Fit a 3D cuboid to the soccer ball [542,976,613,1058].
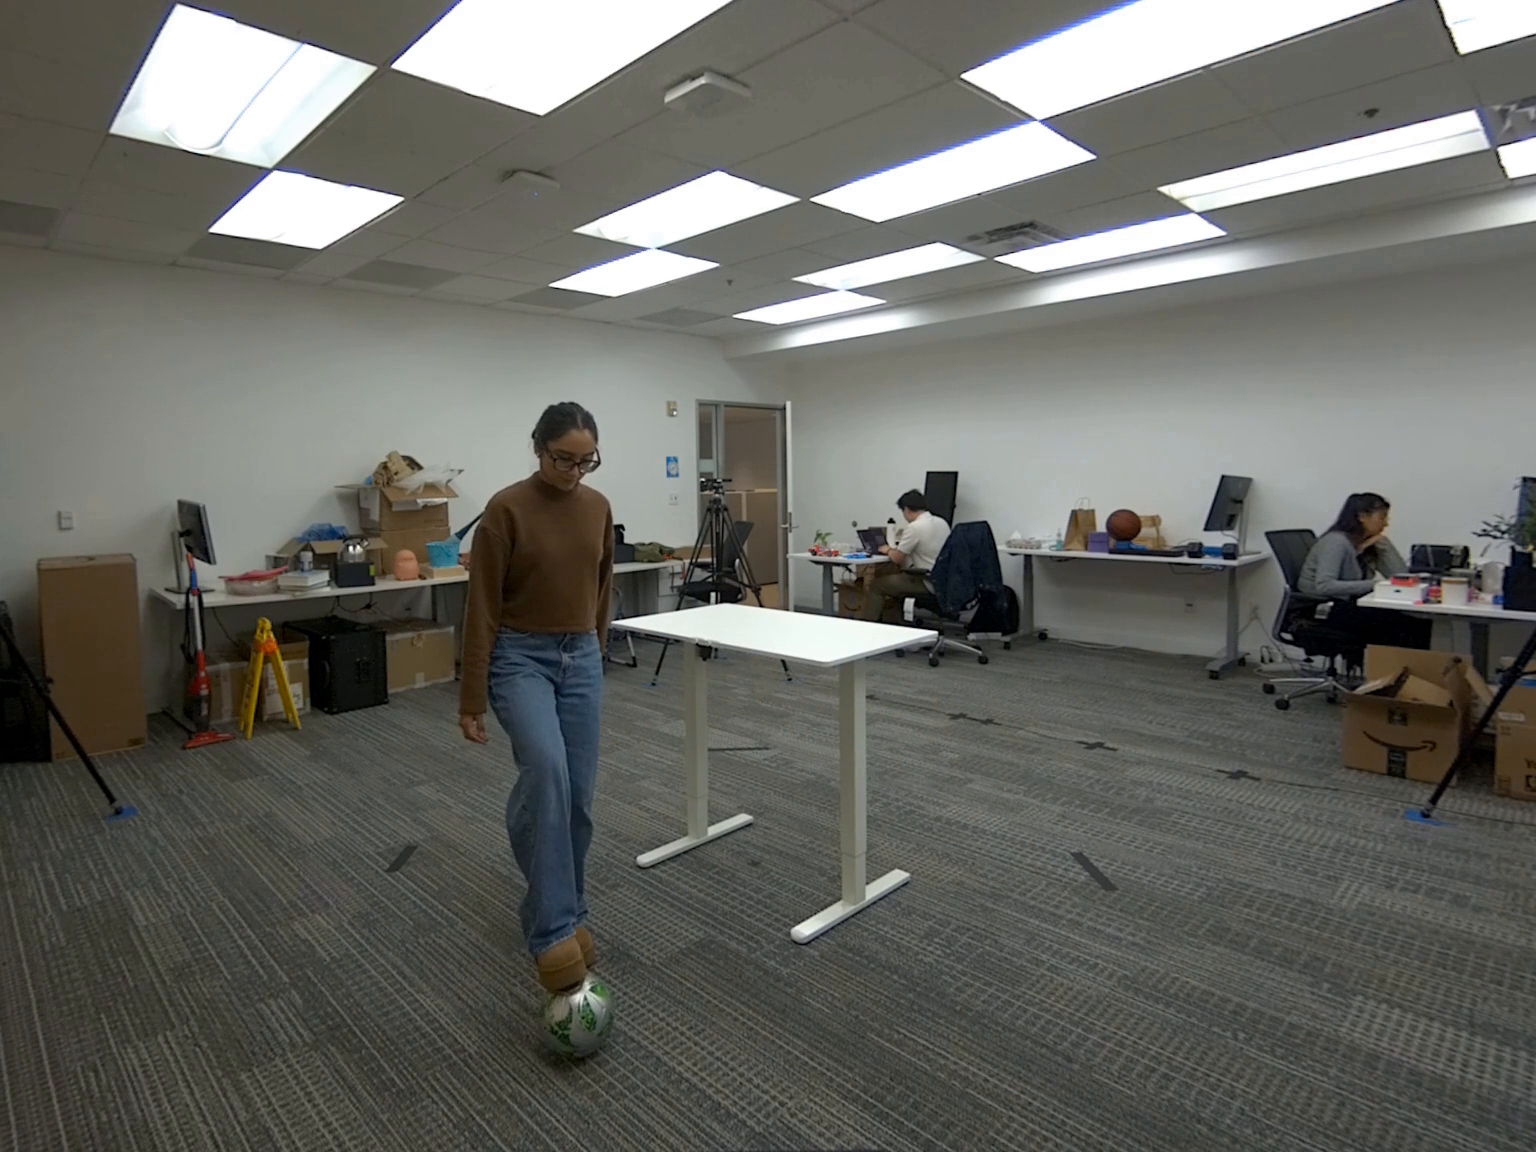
[{"bbox_3d":[-0.467,1.083,2.111,0.187,0.187,0.188,-1,5,-2],"label":"soccer ball"}]
